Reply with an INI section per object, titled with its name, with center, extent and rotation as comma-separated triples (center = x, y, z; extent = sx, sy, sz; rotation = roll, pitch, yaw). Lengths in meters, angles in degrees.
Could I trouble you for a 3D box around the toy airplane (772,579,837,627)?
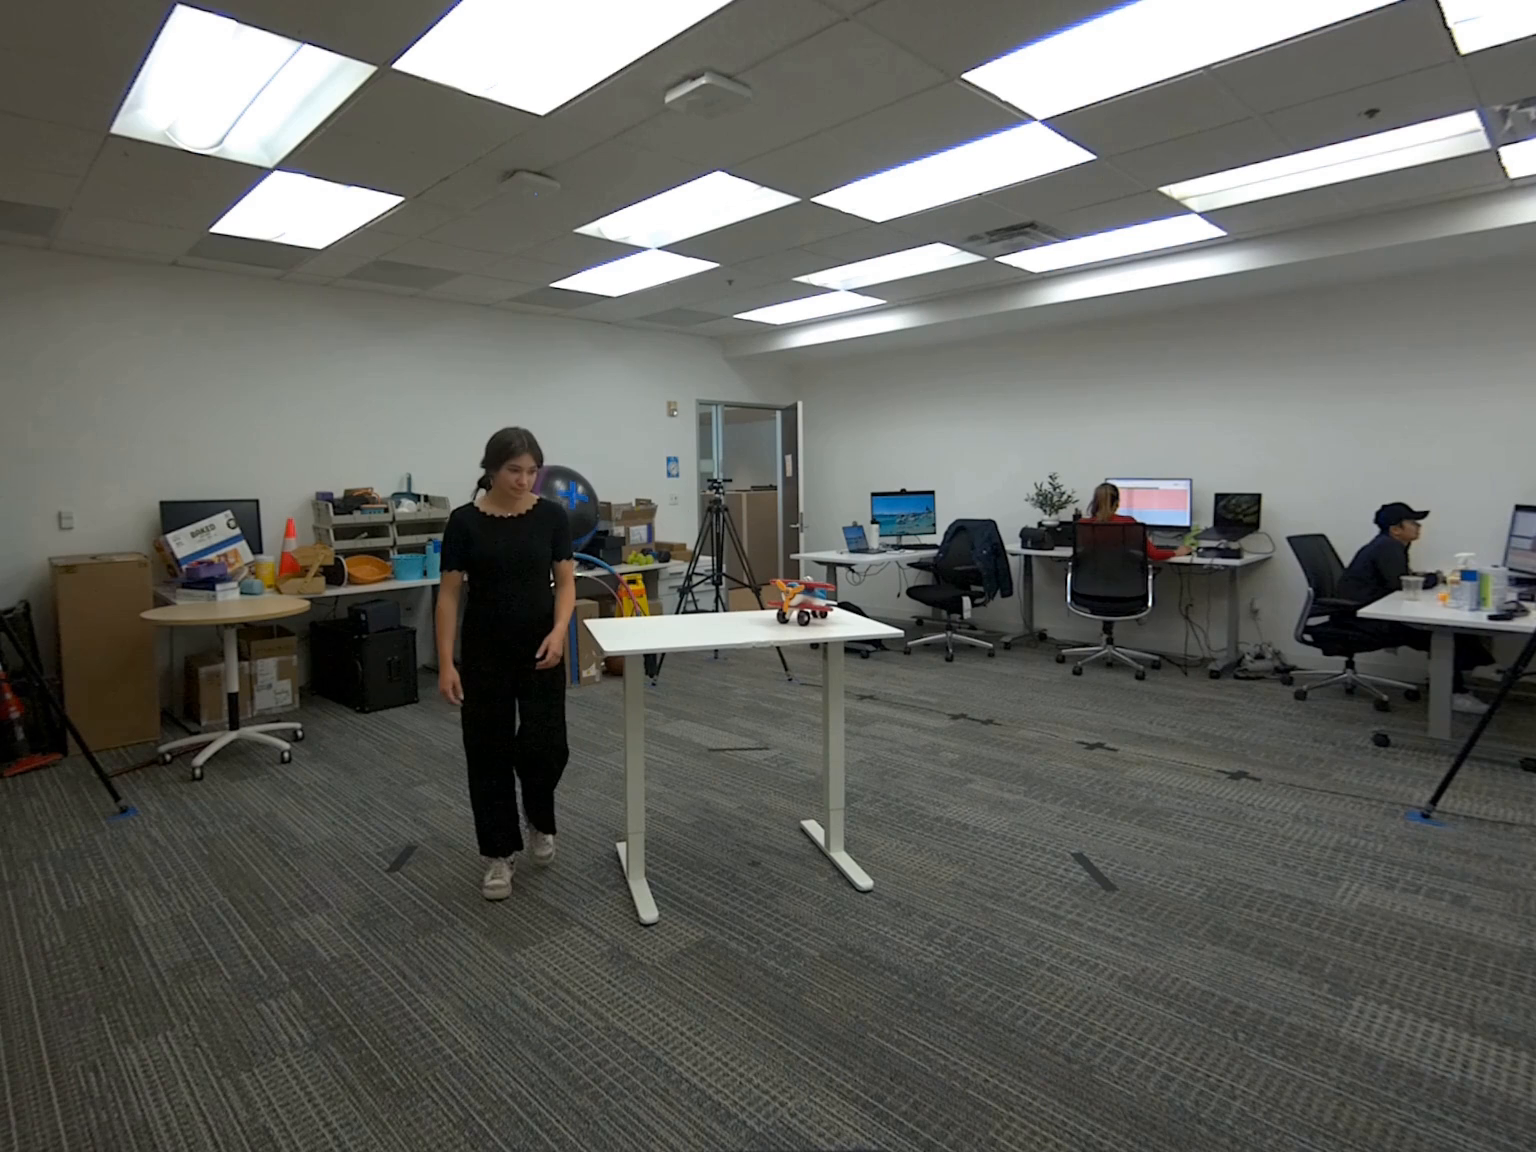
[toy airplane]
center = 0.122, 0.086, 3.088
extent = 0.253, 0.156, 0.258
rotation = 0, 6, 7
